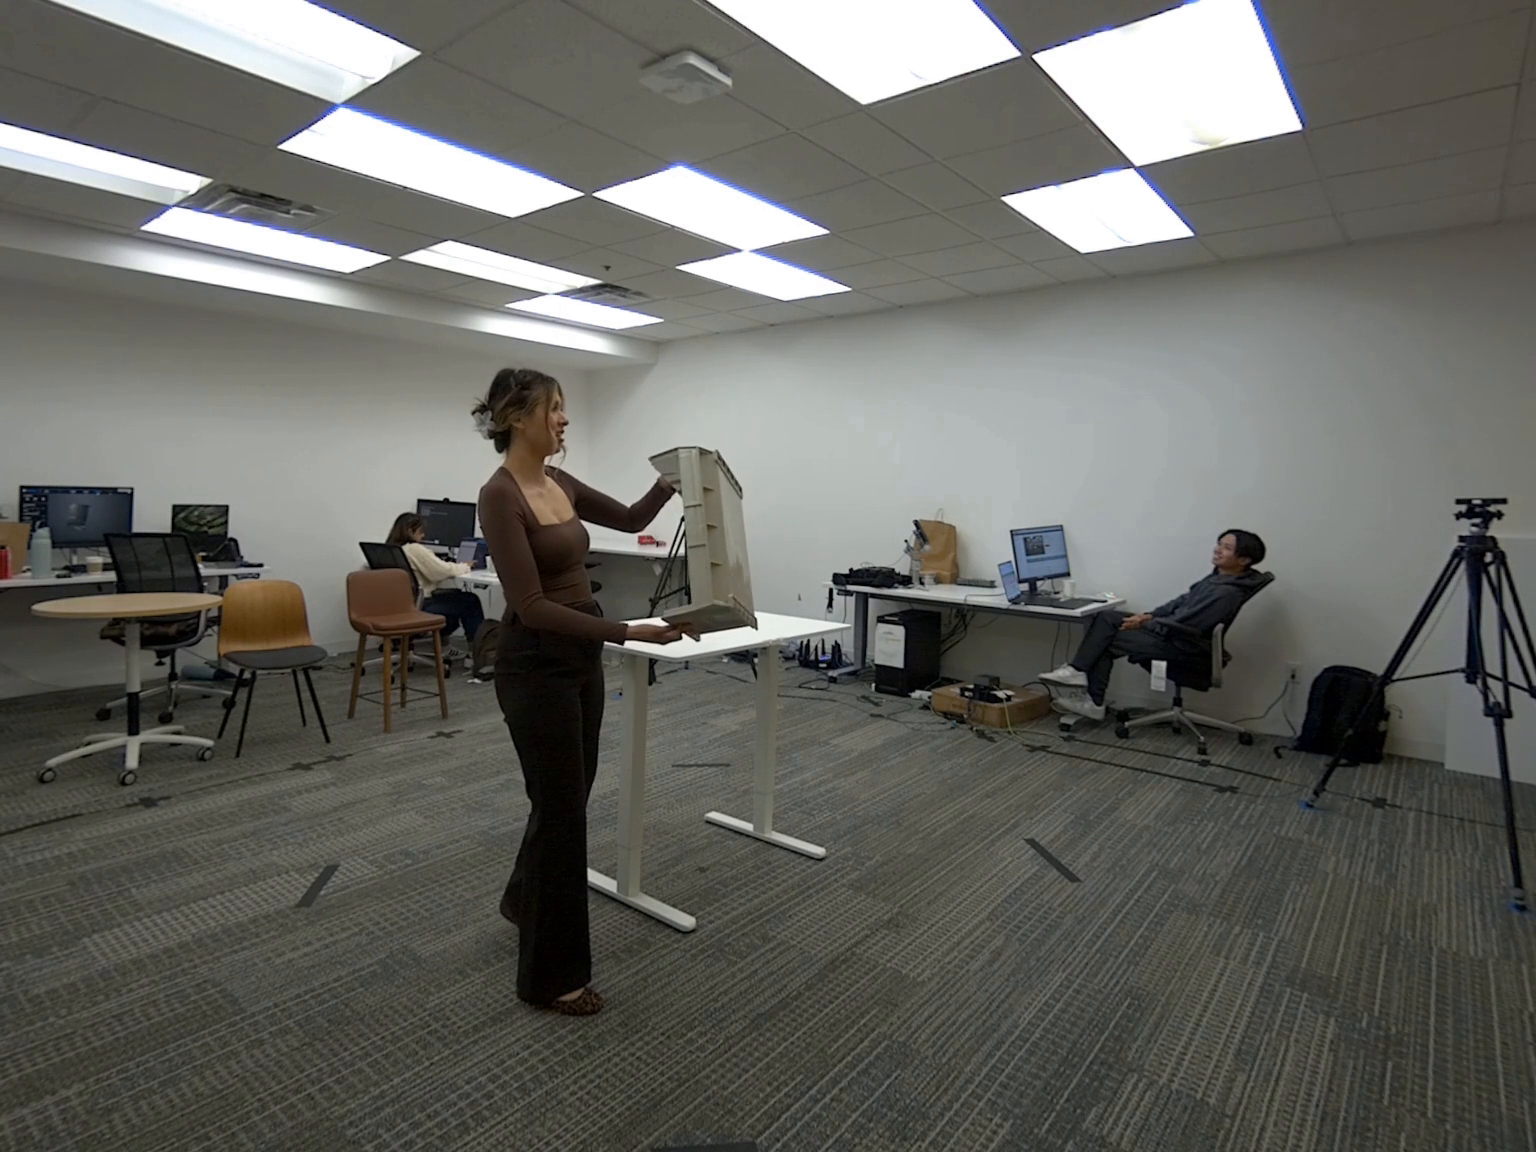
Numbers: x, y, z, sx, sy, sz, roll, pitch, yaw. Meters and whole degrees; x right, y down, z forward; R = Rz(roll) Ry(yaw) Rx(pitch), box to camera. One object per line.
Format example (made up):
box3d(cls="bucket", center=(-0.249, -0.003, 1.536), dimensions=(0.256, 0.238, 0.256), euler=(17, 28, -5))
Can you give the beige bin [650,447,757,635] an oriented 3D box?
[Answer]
box3d(cls="beige bin", center=(-0.182, -0.077, 2.214), dimensions=(0.191, 0.430, 0.367), euler=(-10, -16, 10))
